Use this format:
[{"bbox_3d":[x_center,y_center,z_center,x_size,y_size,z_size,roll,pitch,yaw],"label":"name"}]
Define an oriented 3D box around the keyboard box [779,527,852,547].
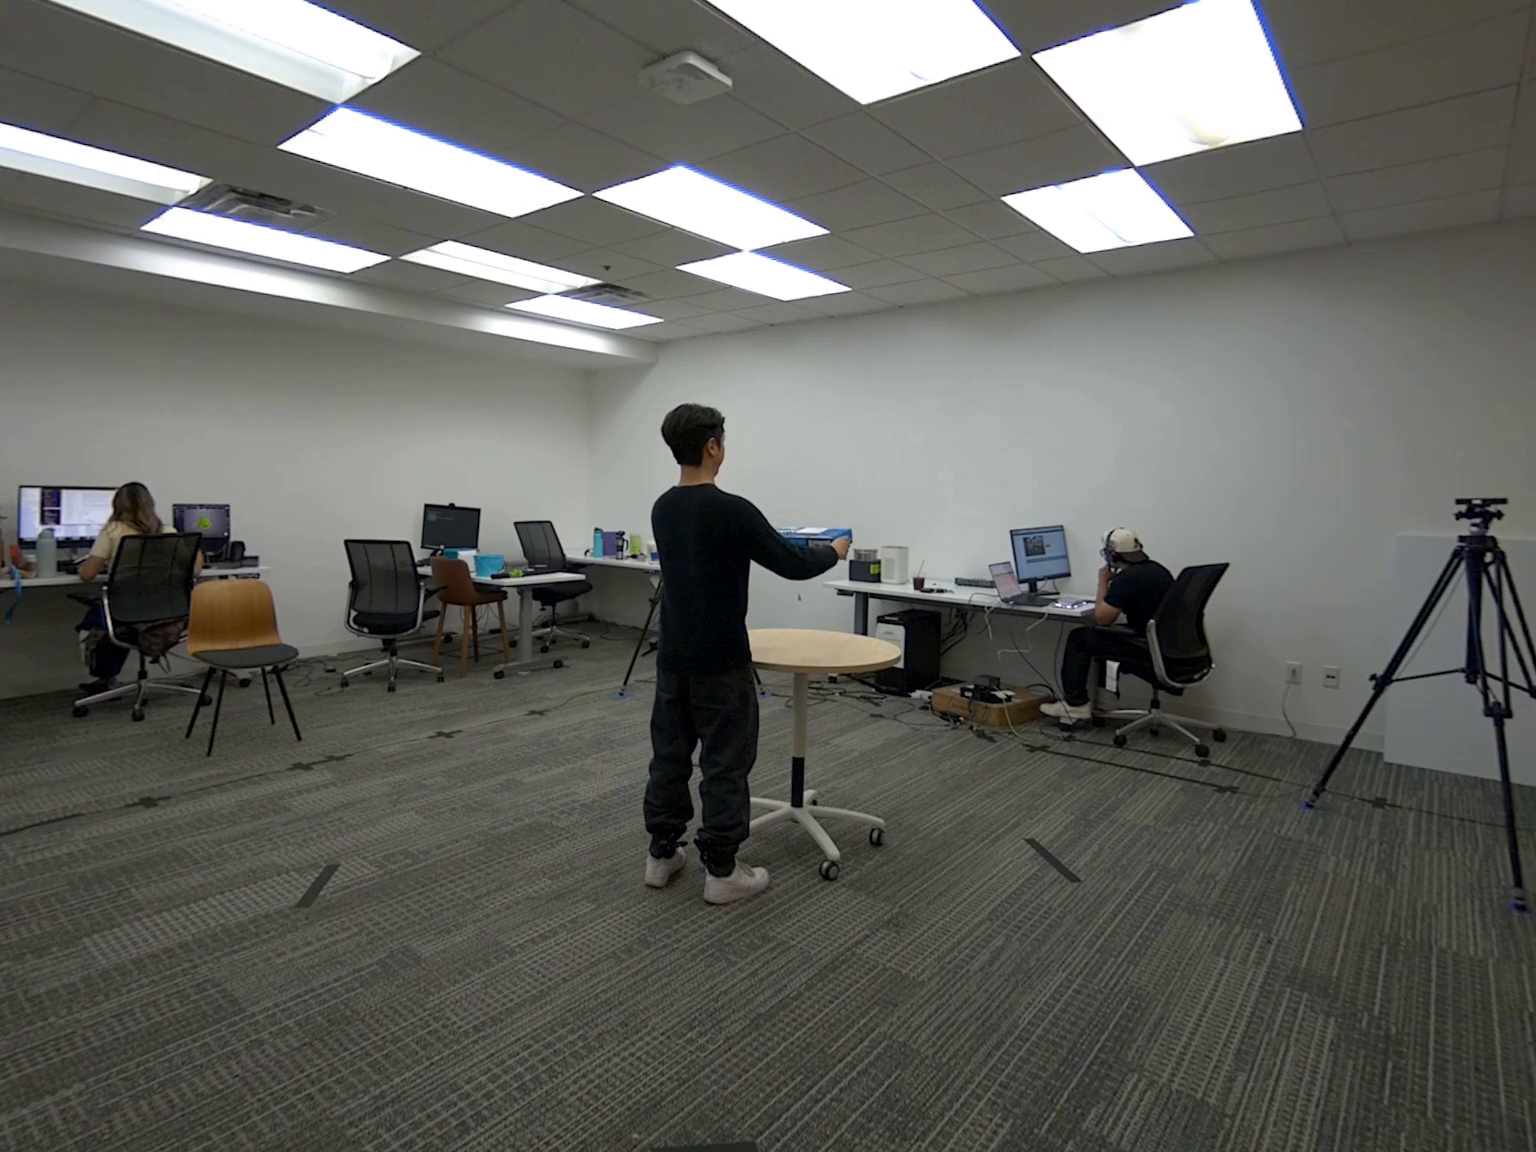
[{"bbox_3d":[0.085,-0.144,3.317,0.450,0.058,0.173,4,17,33],"label":"keyboard box"}]
